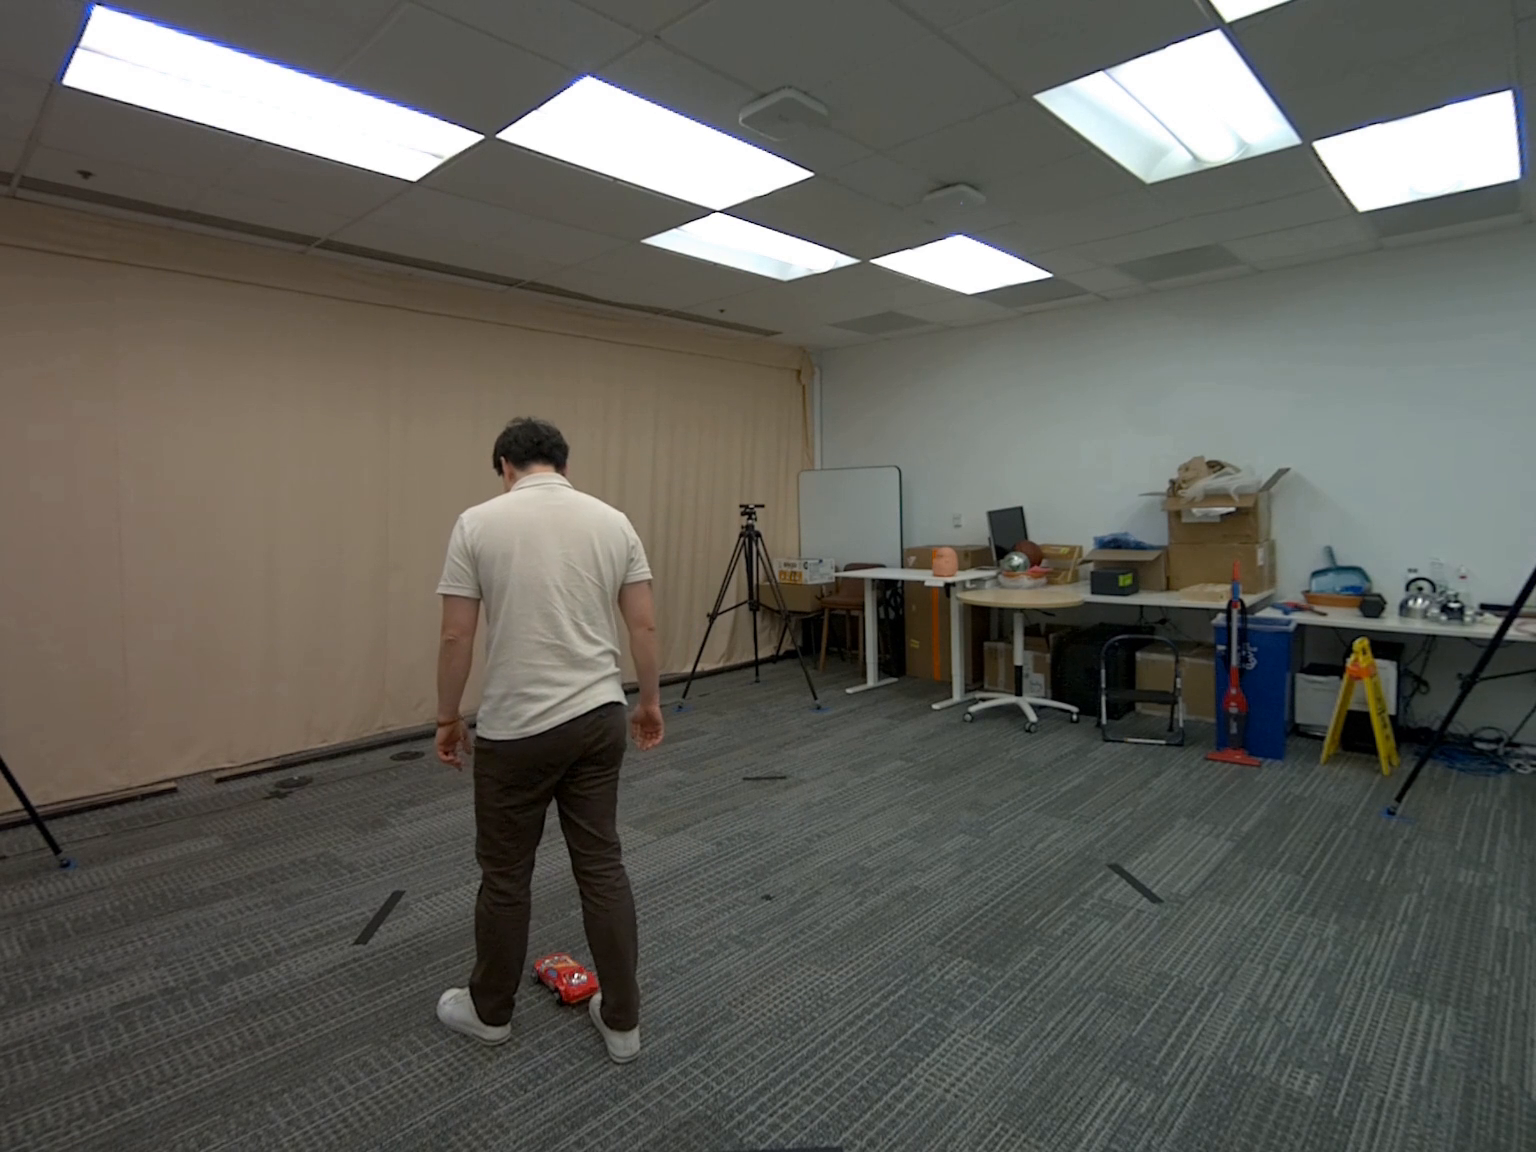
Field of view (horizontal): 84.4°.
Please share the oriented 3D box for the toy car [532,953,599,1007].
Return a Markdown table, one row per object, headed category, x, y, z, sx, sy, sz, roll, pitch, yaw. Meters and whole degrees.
| category | x | y | z | sx | sy | sz | roll | pitch | yaw |
| --- | --- | --- | --- | --- | --- | --- | --- | --- | --- |
| toy car | -0.586 | 1.170 | 2.425 | 0.126 | 0.083 | 0.261 | -5 | -4 | -39 |
